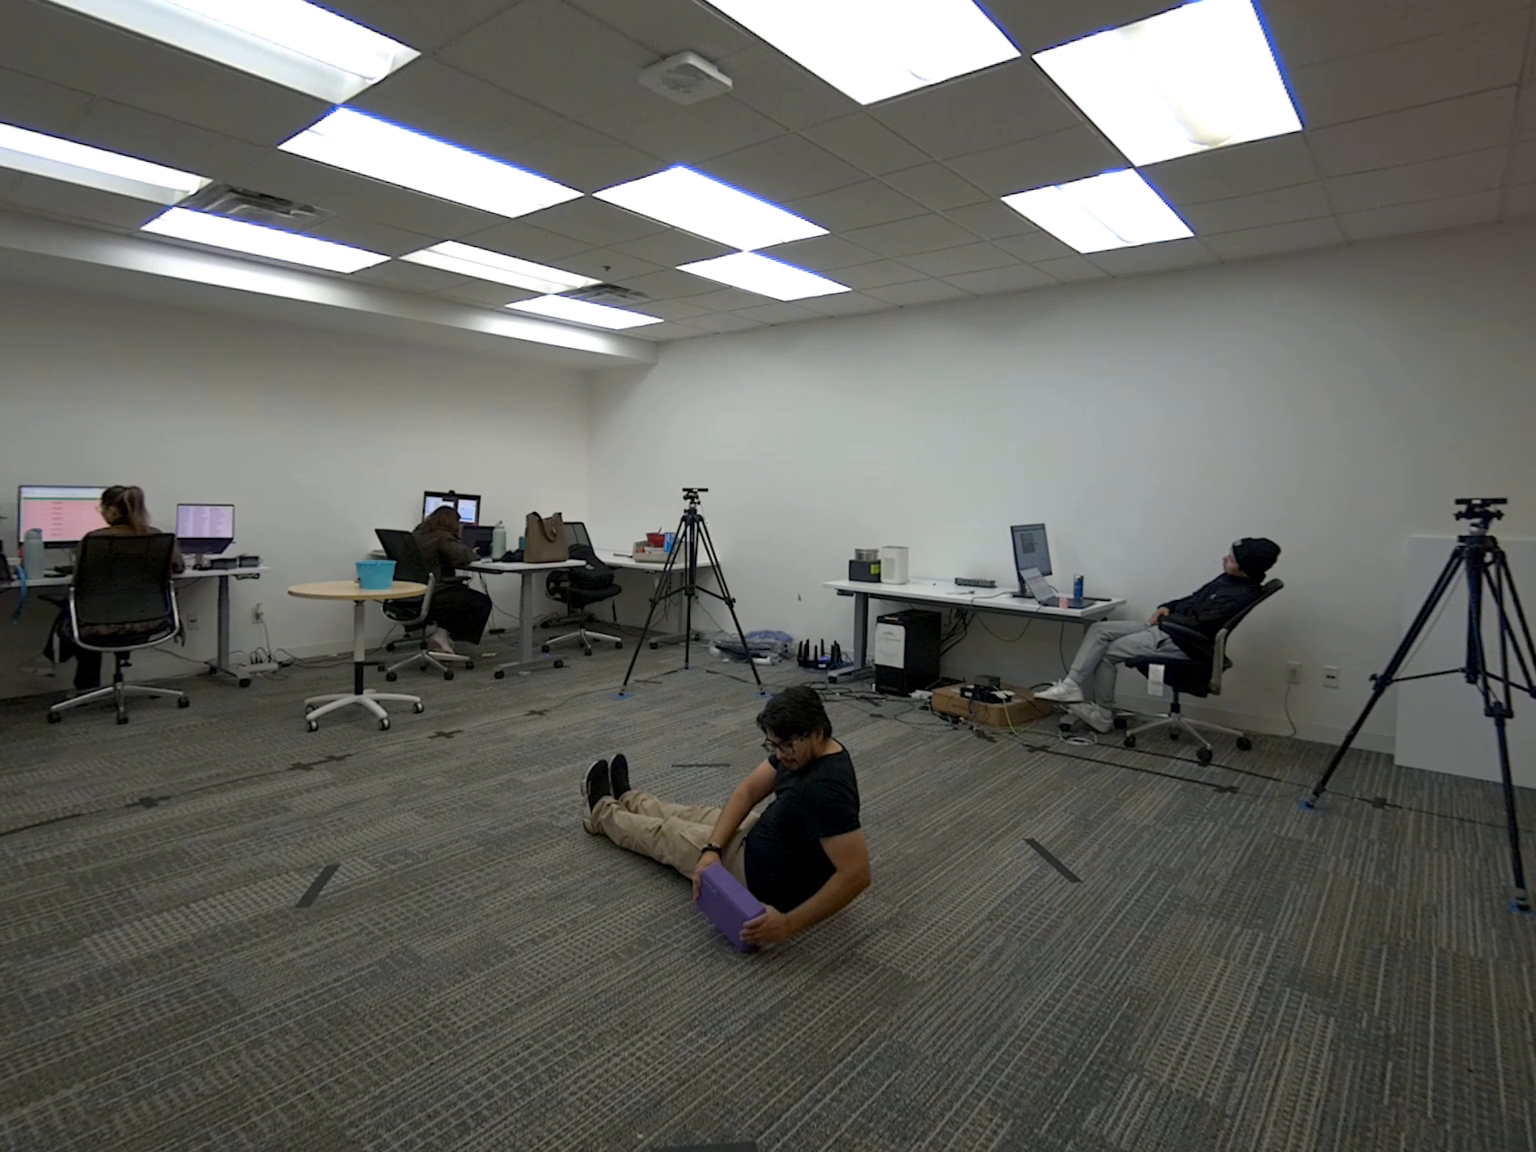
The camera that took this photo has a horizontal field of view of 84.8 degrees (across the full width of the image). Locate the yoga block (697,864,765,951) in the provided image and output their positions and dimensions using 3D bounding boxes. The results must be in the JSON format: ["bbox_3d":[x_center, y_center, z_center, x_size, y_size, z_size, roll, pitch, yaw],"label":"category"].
[{"bbox_3d":[-0.115,1.012,2.613,0.074,0.146,0.239,-5,25,-32],"label":"yoga block"}]
